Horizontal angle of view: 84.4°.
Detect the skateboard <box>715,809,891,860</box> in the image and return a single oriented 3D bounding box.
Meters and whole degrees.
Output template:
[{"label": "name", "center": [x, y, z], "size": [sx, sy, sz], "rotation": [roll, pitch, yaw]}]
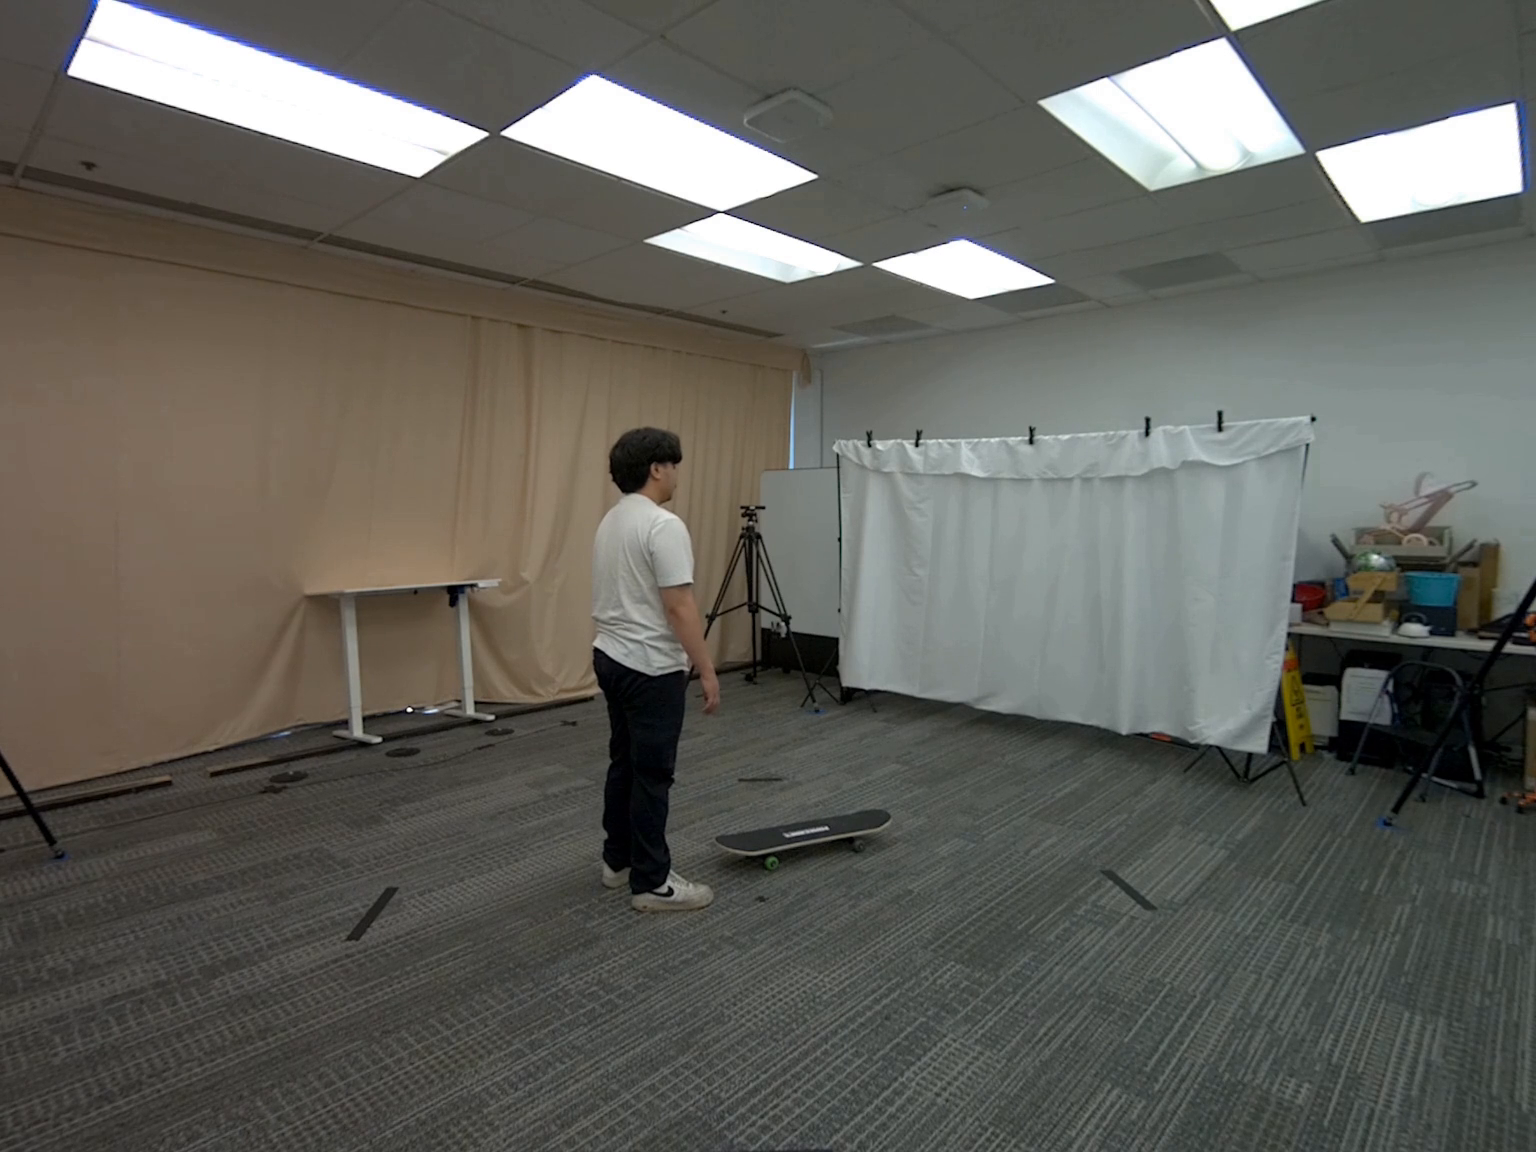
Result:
[{"label": "skateboard", "center": [0.152, 1.055, 3.367], "size": [0.767, 0.110, 0.198], "rotation": [-2, 5, -25]}]
